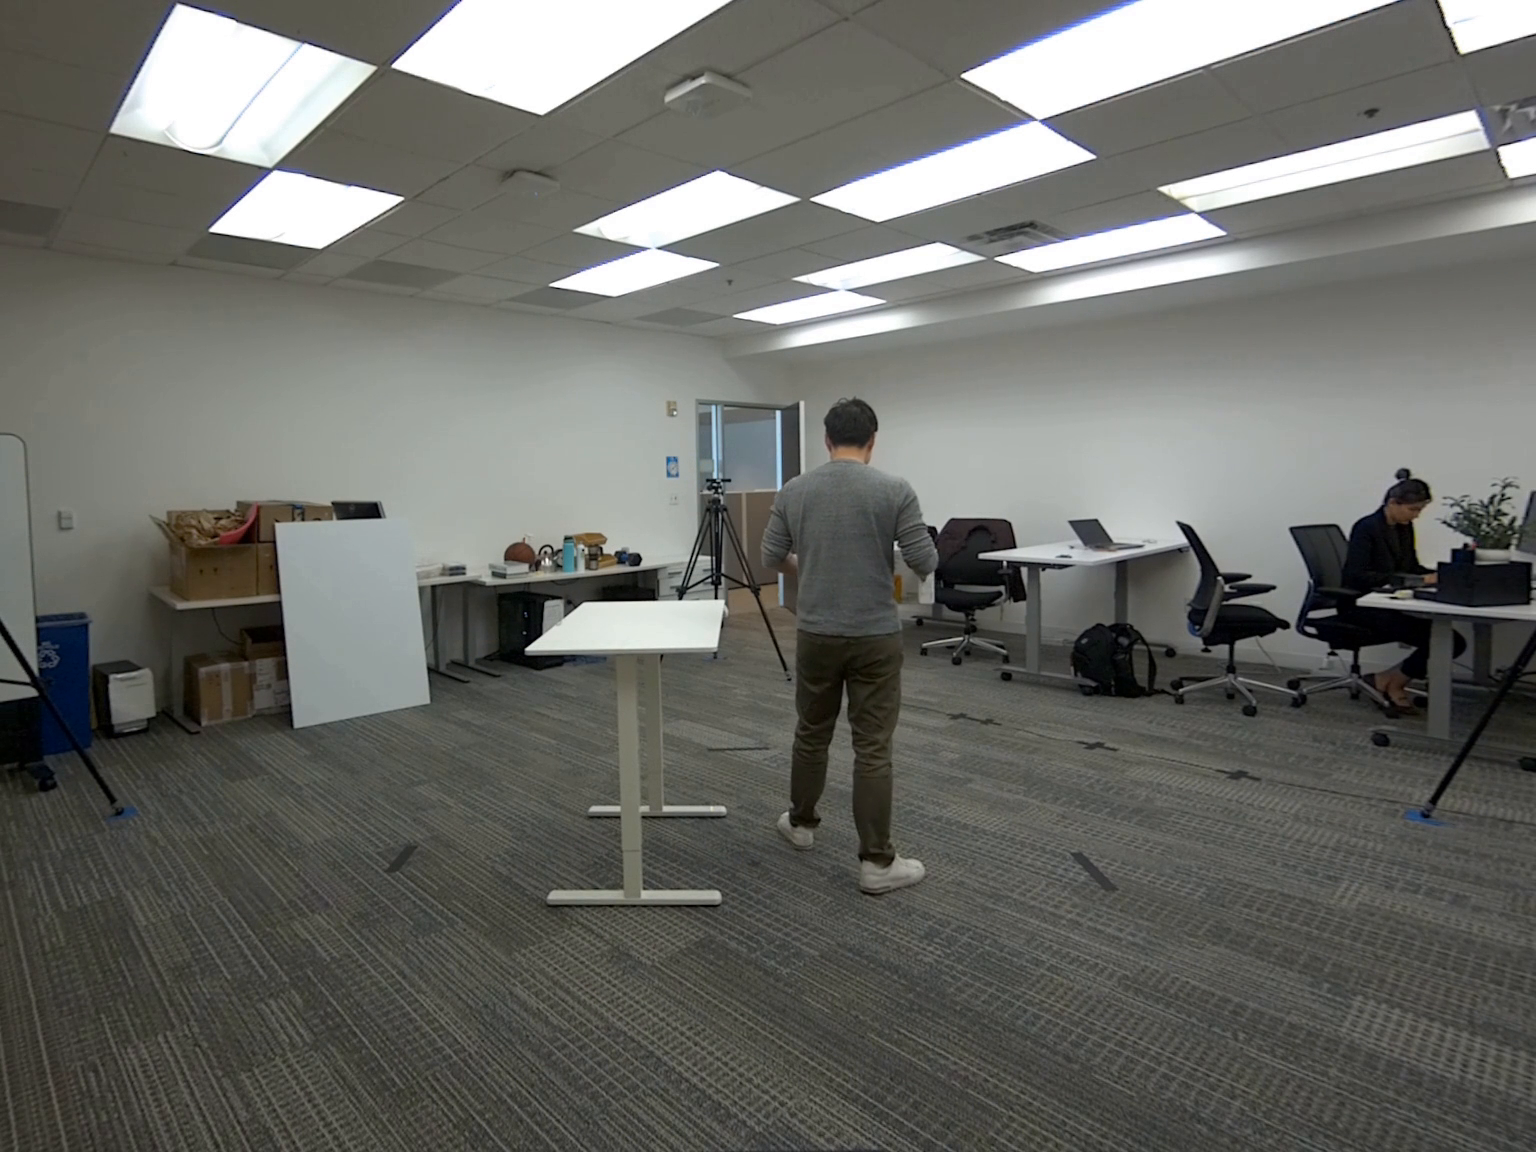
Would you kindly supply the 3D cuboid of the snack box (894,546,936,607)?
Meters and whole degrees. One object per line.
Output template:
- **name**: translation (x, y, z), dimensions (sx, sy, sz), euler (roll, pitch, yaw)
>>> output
- **snack box**: translation (0.427, 0.003, 3.378), dimensions (0.413, 0.206, 0.333), euler (0, -1, 22)
